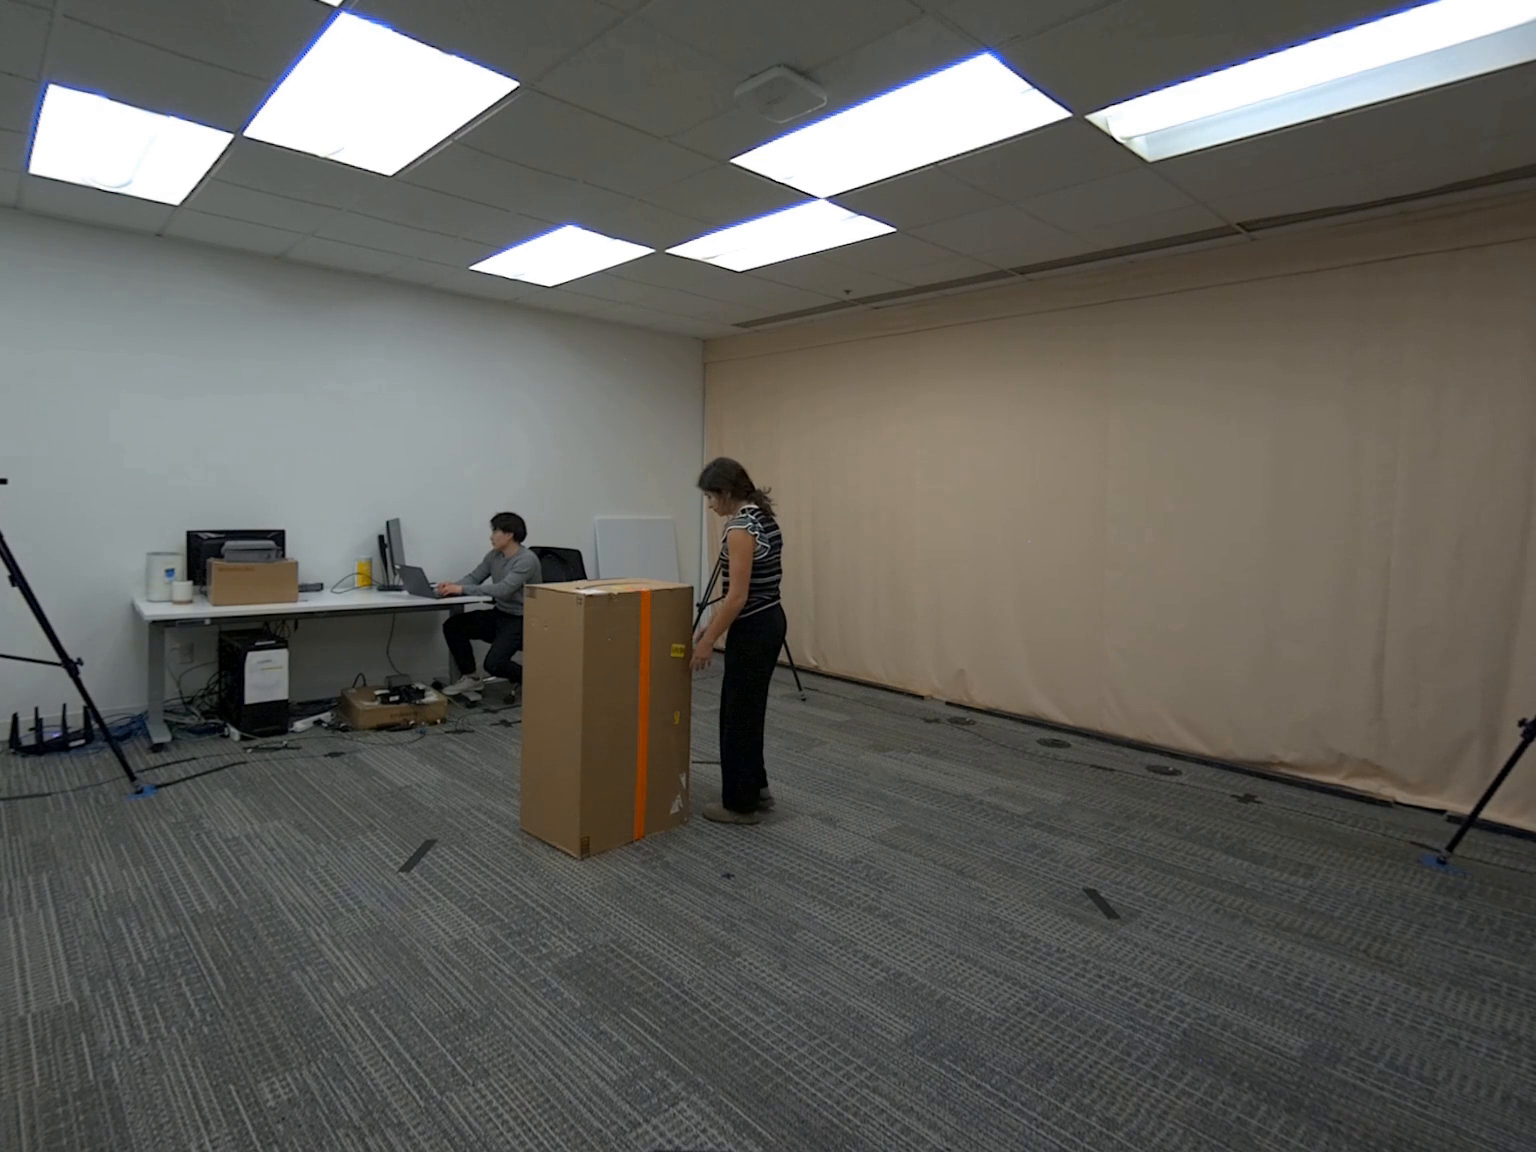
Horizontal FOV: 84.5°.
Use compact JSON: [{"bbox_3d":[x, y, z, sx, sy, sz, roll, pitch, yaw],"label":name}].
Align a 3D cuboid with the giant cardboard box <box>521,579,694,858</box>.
[{"bbox_3d":[-0.683,0.553,3.527,0.437,1.024,0.564,4,4,41],"label":"giant cardboard box"}]
